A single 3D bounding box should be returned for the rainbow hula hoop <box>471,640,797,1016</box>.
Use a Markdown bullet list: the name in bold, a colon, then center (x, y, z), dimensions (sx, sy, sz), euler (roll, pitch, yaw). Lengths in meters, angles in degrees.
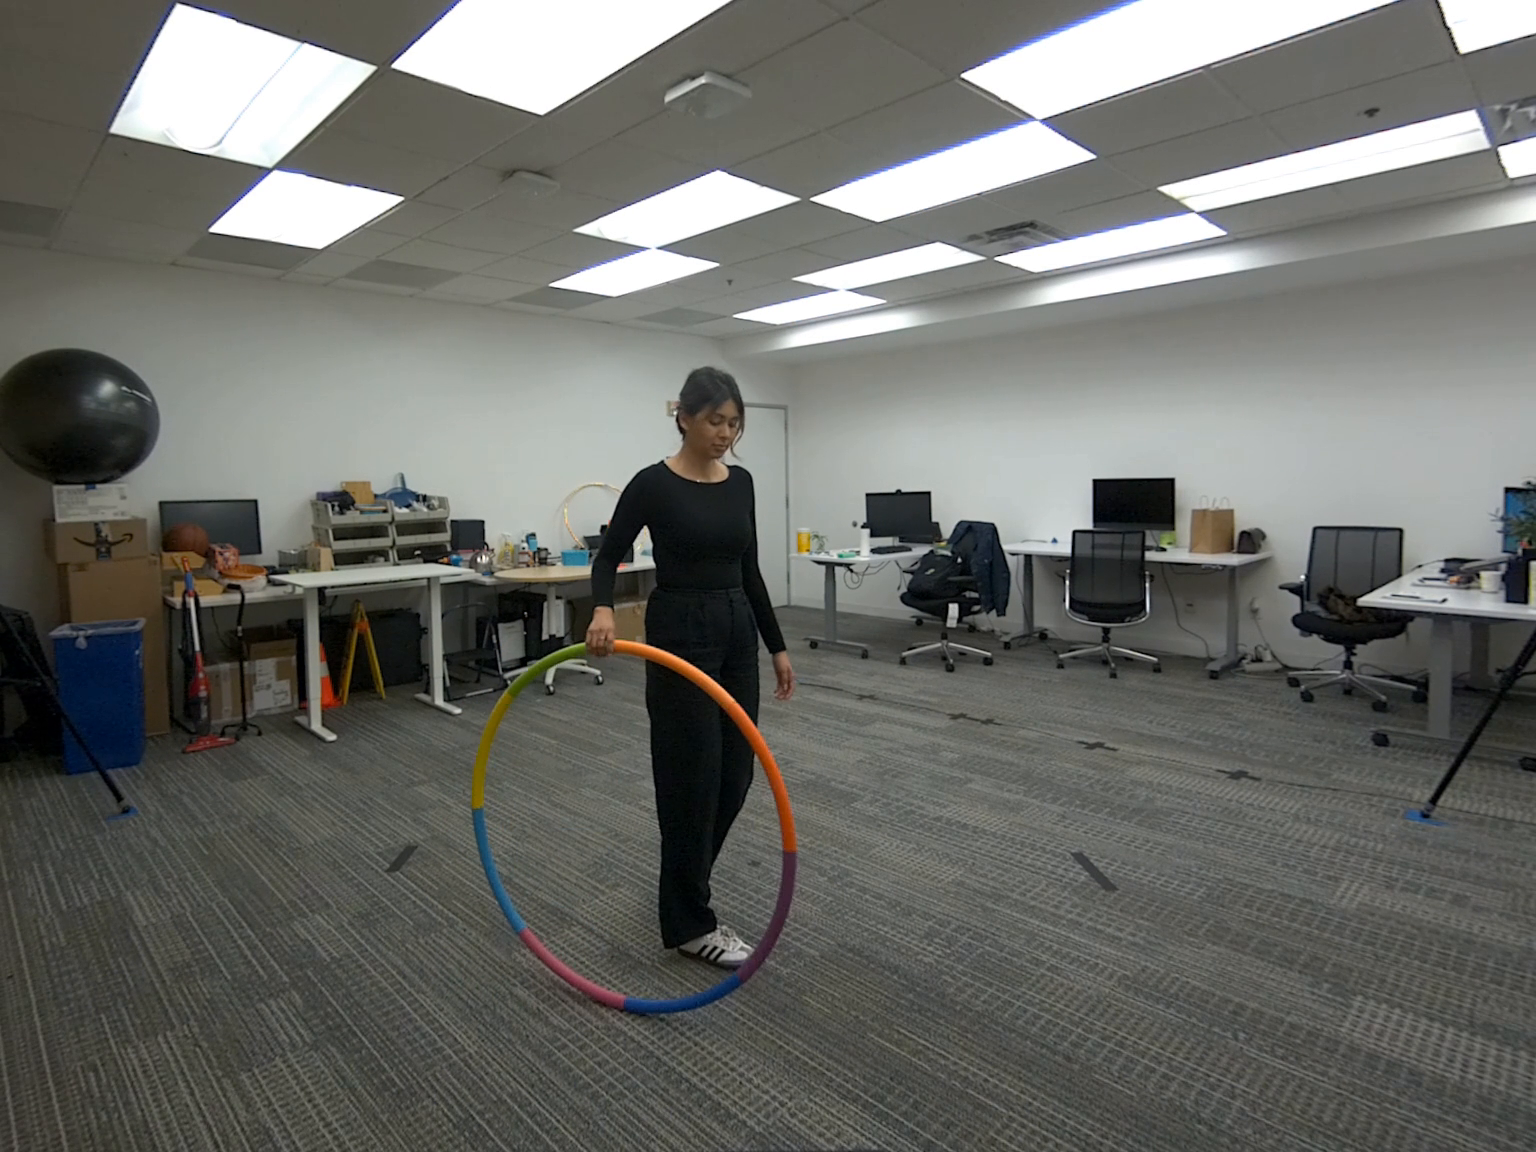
- **rainbow hula hoop**: center (-0.387, 0.661, 2.277), dimensions (1.001, 0.976, 0.035), euler (1, 3, 25)
